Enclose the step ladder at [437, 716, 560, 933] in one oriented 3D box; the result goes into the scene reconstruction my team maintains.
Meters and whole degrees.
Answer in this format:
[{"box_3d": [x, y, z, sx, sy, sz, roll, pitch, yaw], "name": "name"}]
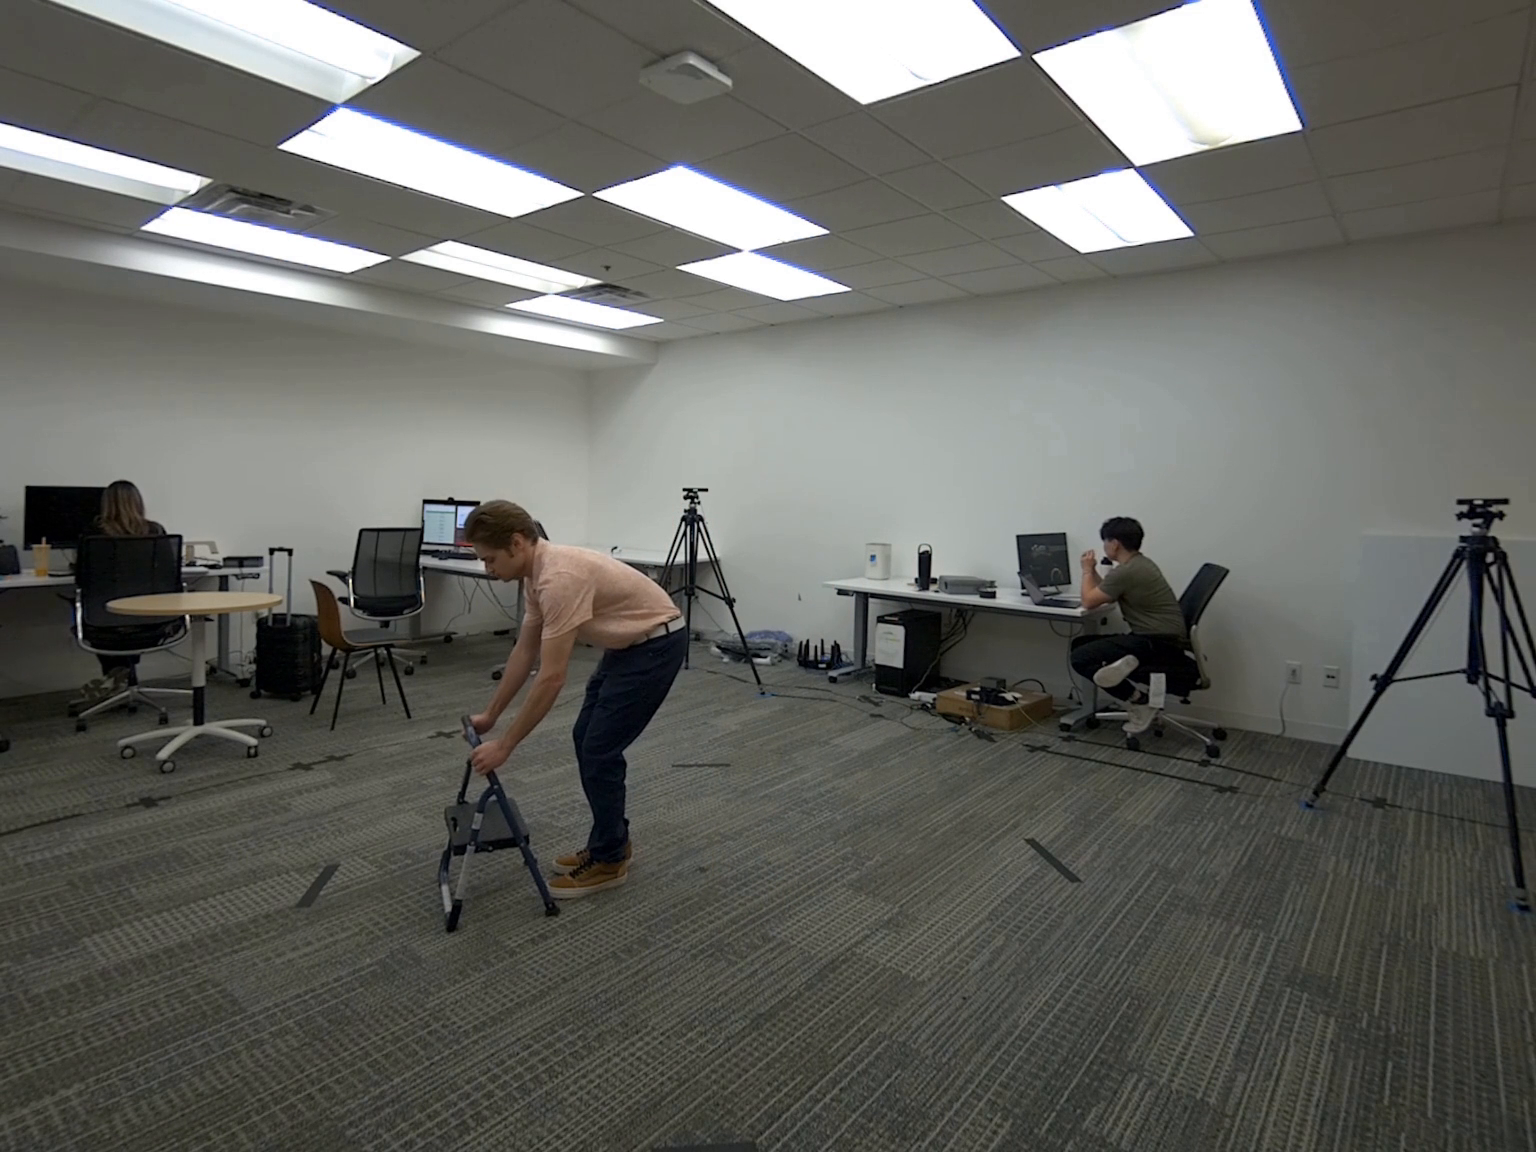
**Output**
[{"box_3d": [-0.935, 0.776, 2.870, 0.341, 0.604, 0.442, -1, 5, -25], "name": "step ladder"}]
